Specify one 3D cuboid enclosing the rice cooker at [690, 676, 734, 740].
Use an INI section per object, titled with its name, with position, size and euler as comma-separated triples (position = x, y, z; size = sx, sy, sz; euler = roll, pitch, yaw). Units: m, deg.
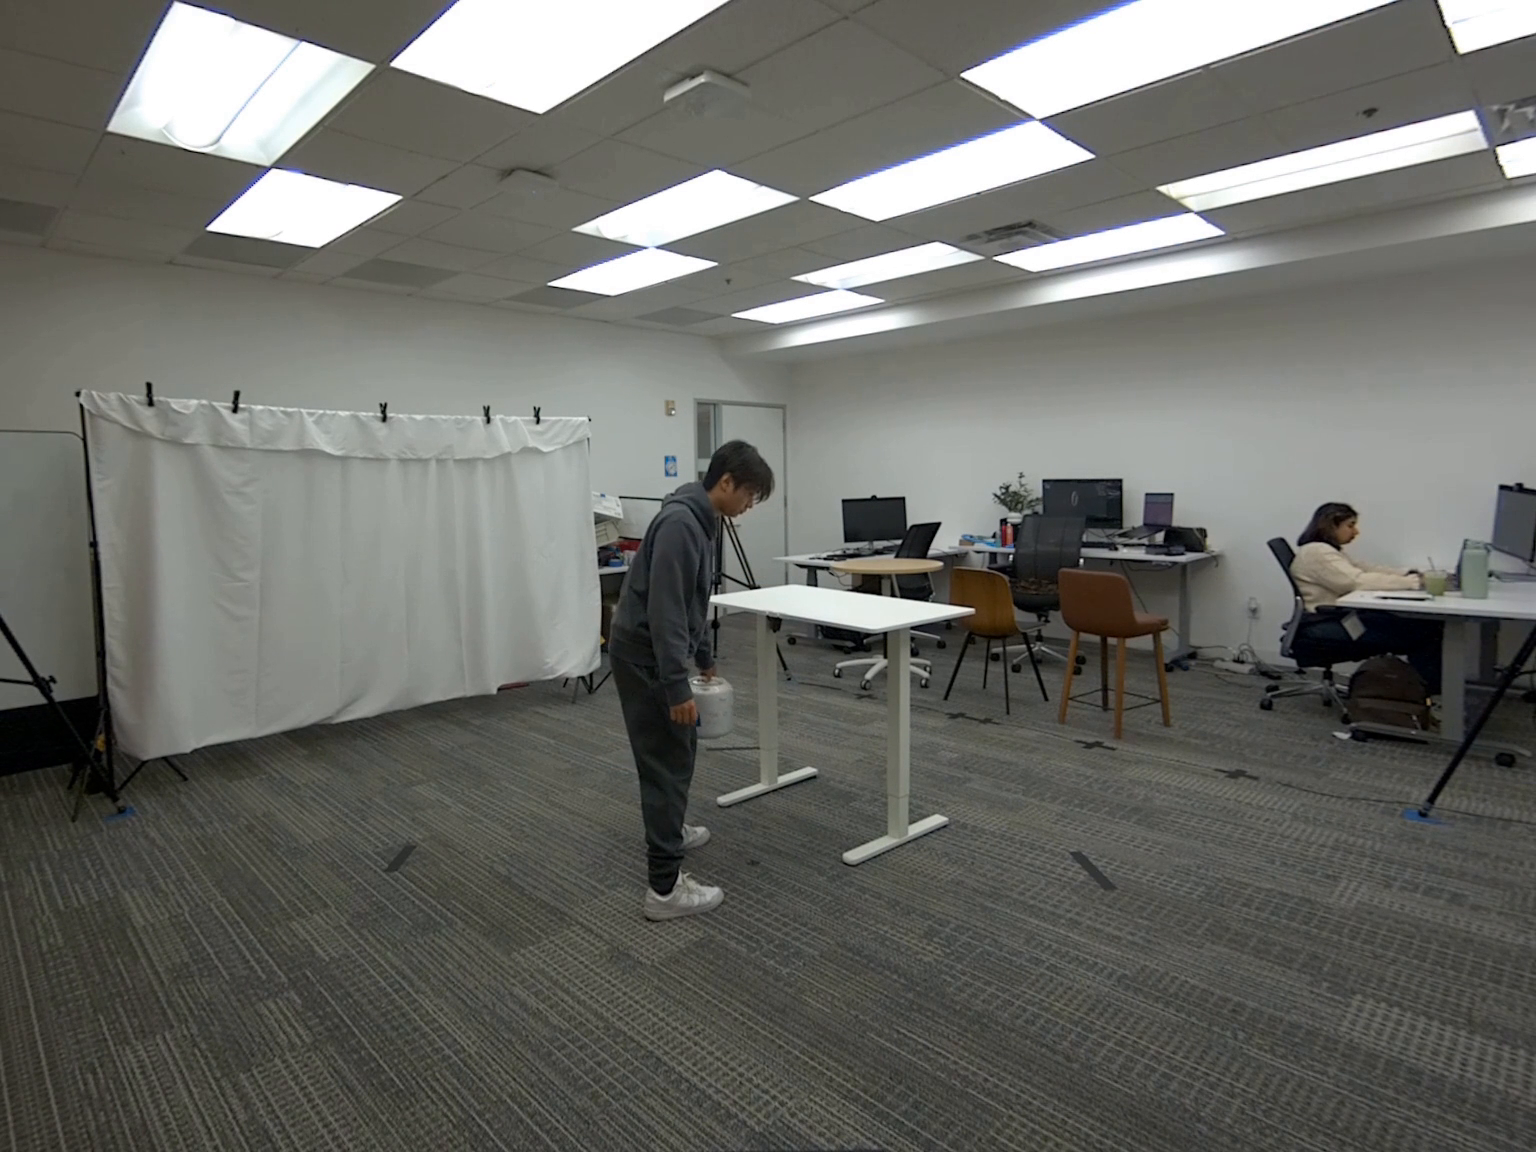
[rice cooker]
position = -0.239, 0.506, 3.379
size = 0.223, 0.231, 0.216
euler = -1, 8, 13
